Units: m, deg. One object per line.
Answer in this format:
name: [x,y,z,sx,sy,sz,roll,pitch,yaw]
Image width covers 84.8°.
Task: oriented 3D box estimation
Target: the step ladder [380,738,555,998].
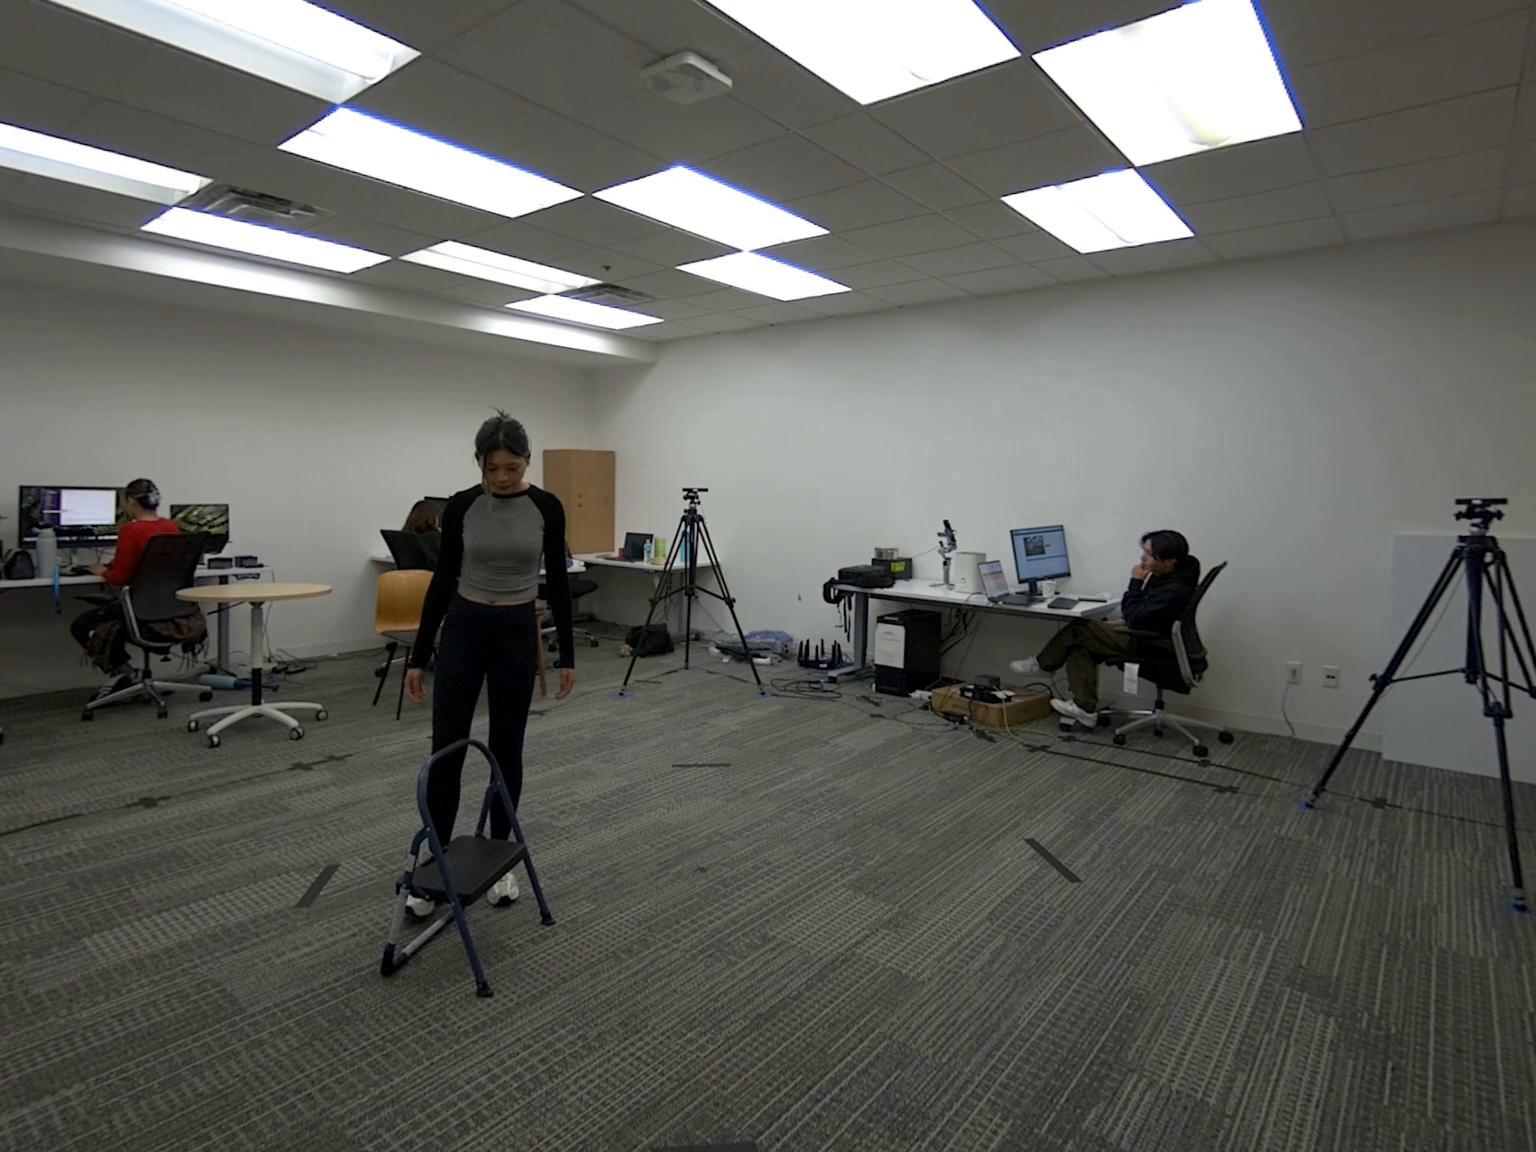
step ladder: [-0.891,0.820,2.533,0.354,0.604,0.426,2,4,12]
